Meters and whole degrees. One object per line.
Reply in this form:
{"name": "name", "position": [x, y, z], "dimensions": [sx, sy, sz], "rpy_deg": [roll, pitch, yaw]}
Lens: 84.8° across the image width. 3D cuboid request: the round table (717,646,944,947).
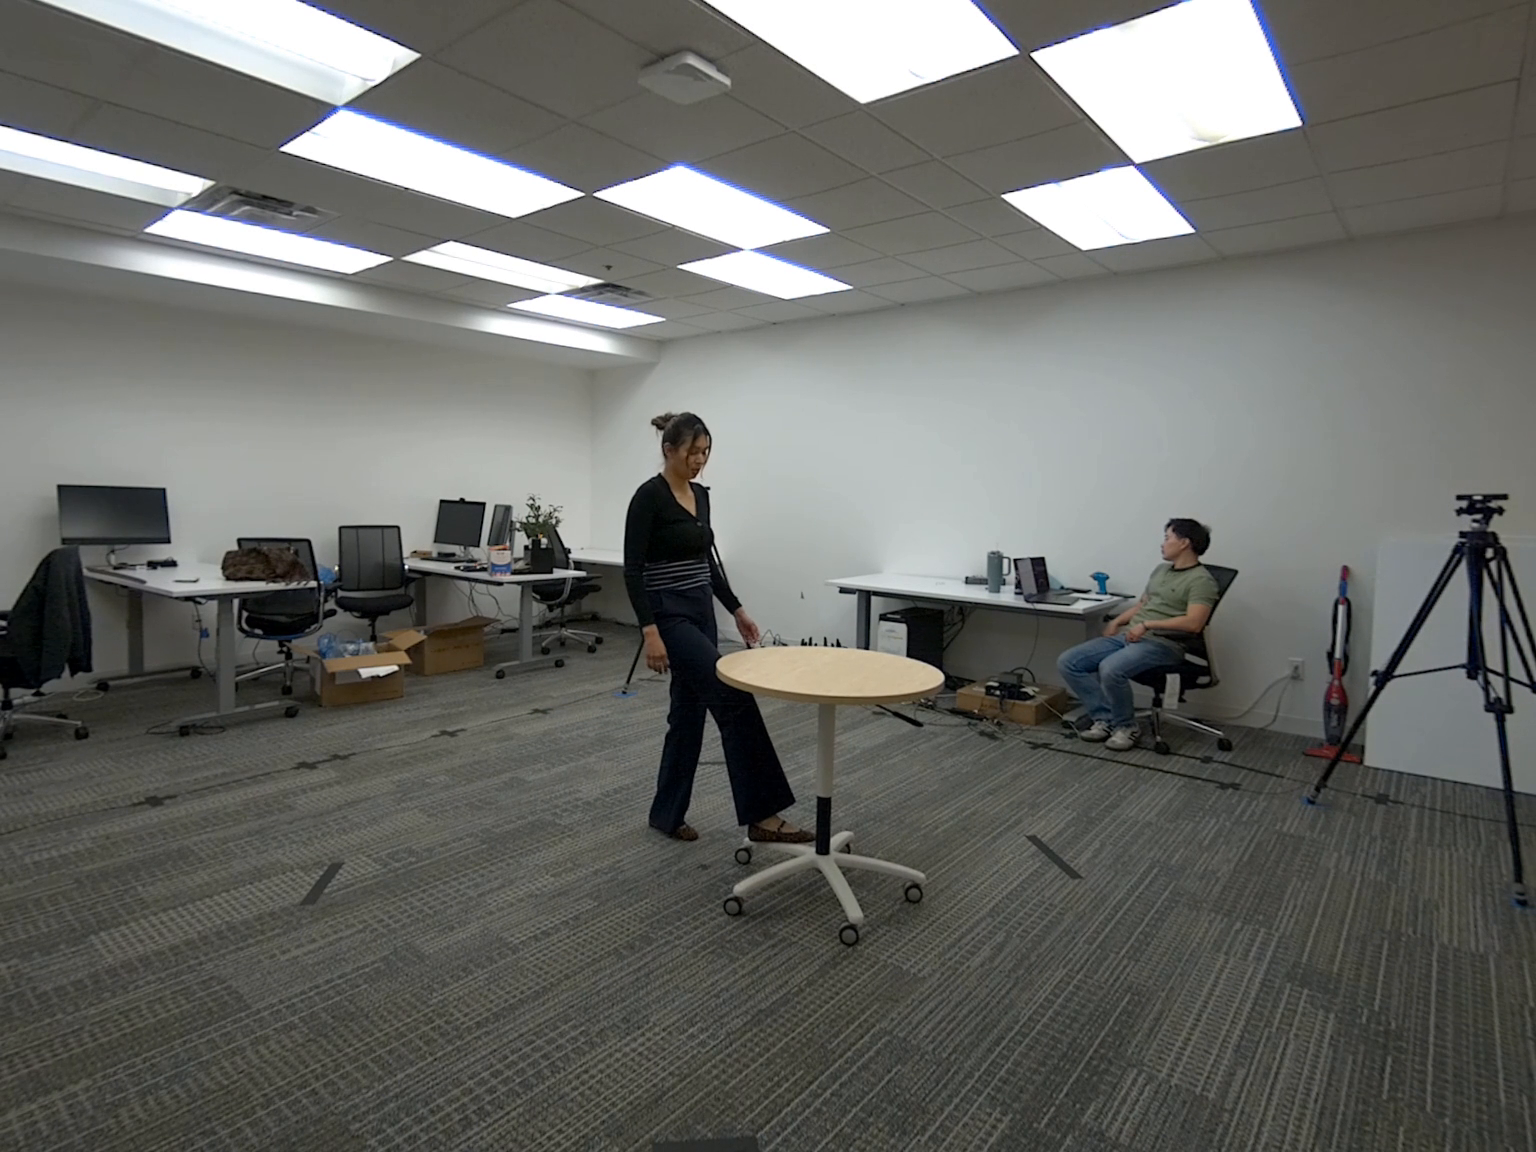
{"name": "round table", "position": [0.183, 0.703, 2.921], "dimensions": [0.763, 0.791, 0.768], "rpy_deg": [2, 5, -2]}
